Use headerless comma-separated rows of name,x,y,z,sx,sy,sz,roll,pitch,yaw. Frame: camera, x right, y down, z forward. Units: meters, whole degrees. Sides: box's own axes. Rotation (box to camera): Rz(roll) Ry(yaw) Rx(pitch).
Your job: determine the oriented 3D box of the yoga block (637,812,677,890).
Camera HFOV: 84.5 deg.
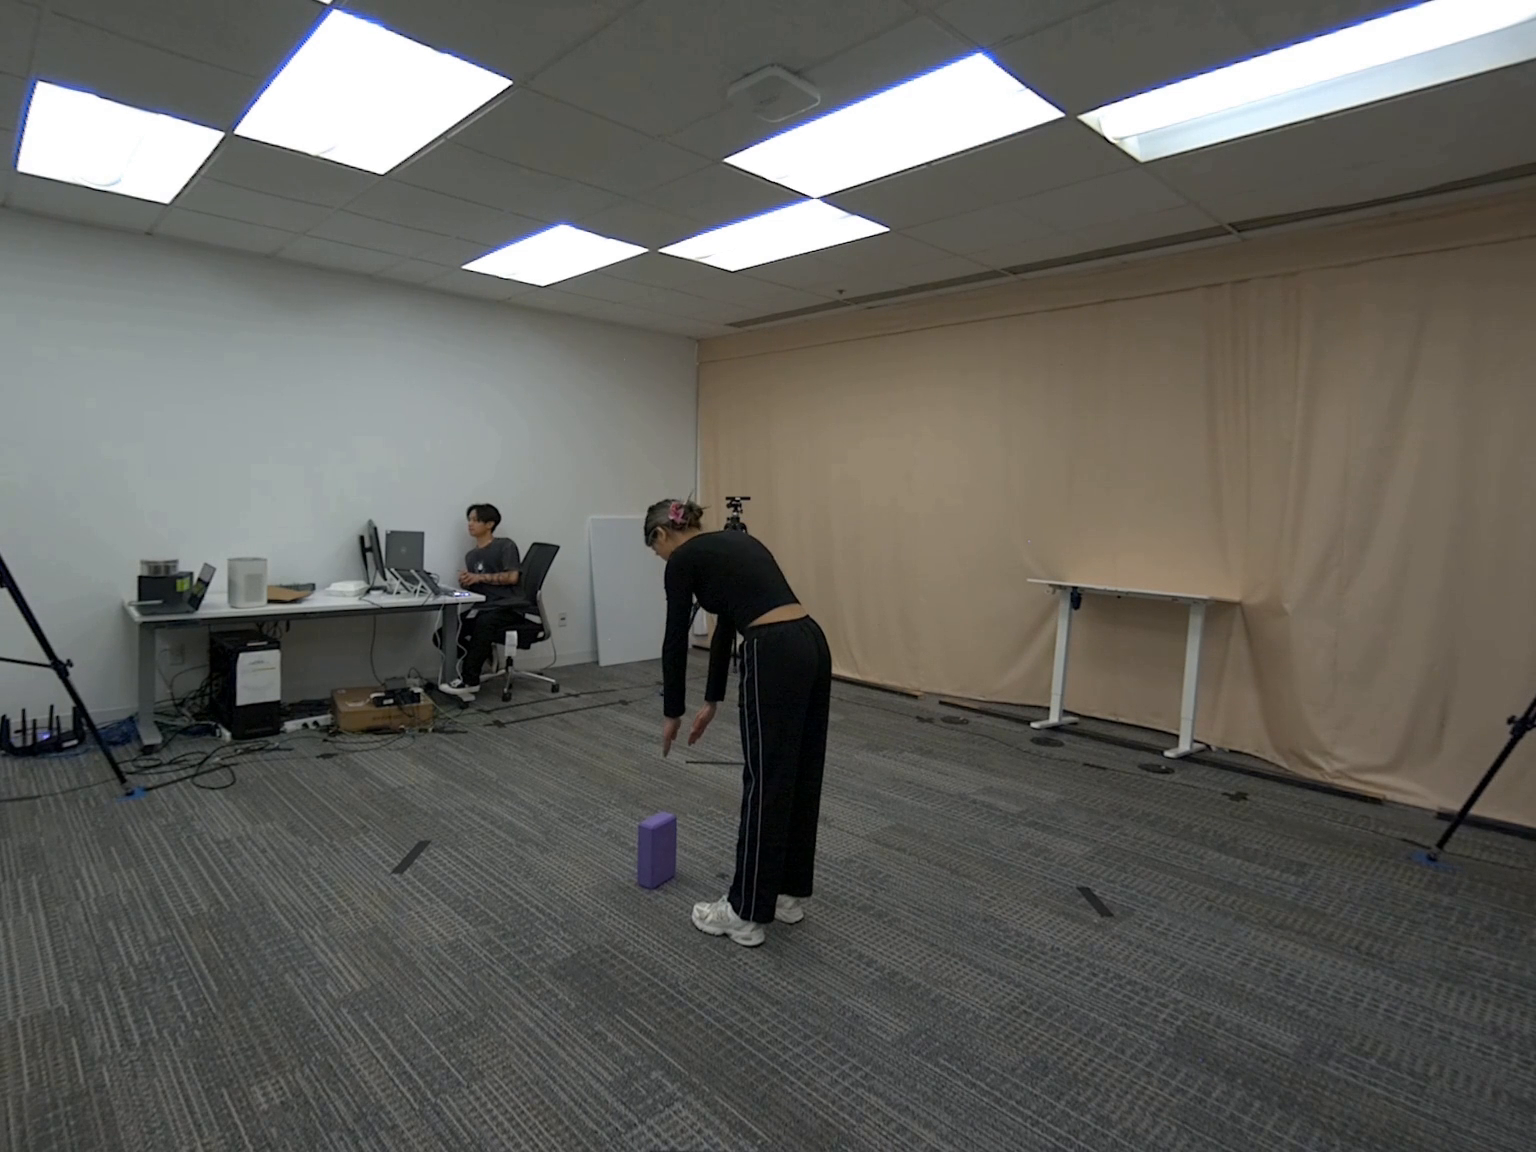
yoga block,-0.409,0.992,3.044,0.078,0.229,0.146,3,4,30
